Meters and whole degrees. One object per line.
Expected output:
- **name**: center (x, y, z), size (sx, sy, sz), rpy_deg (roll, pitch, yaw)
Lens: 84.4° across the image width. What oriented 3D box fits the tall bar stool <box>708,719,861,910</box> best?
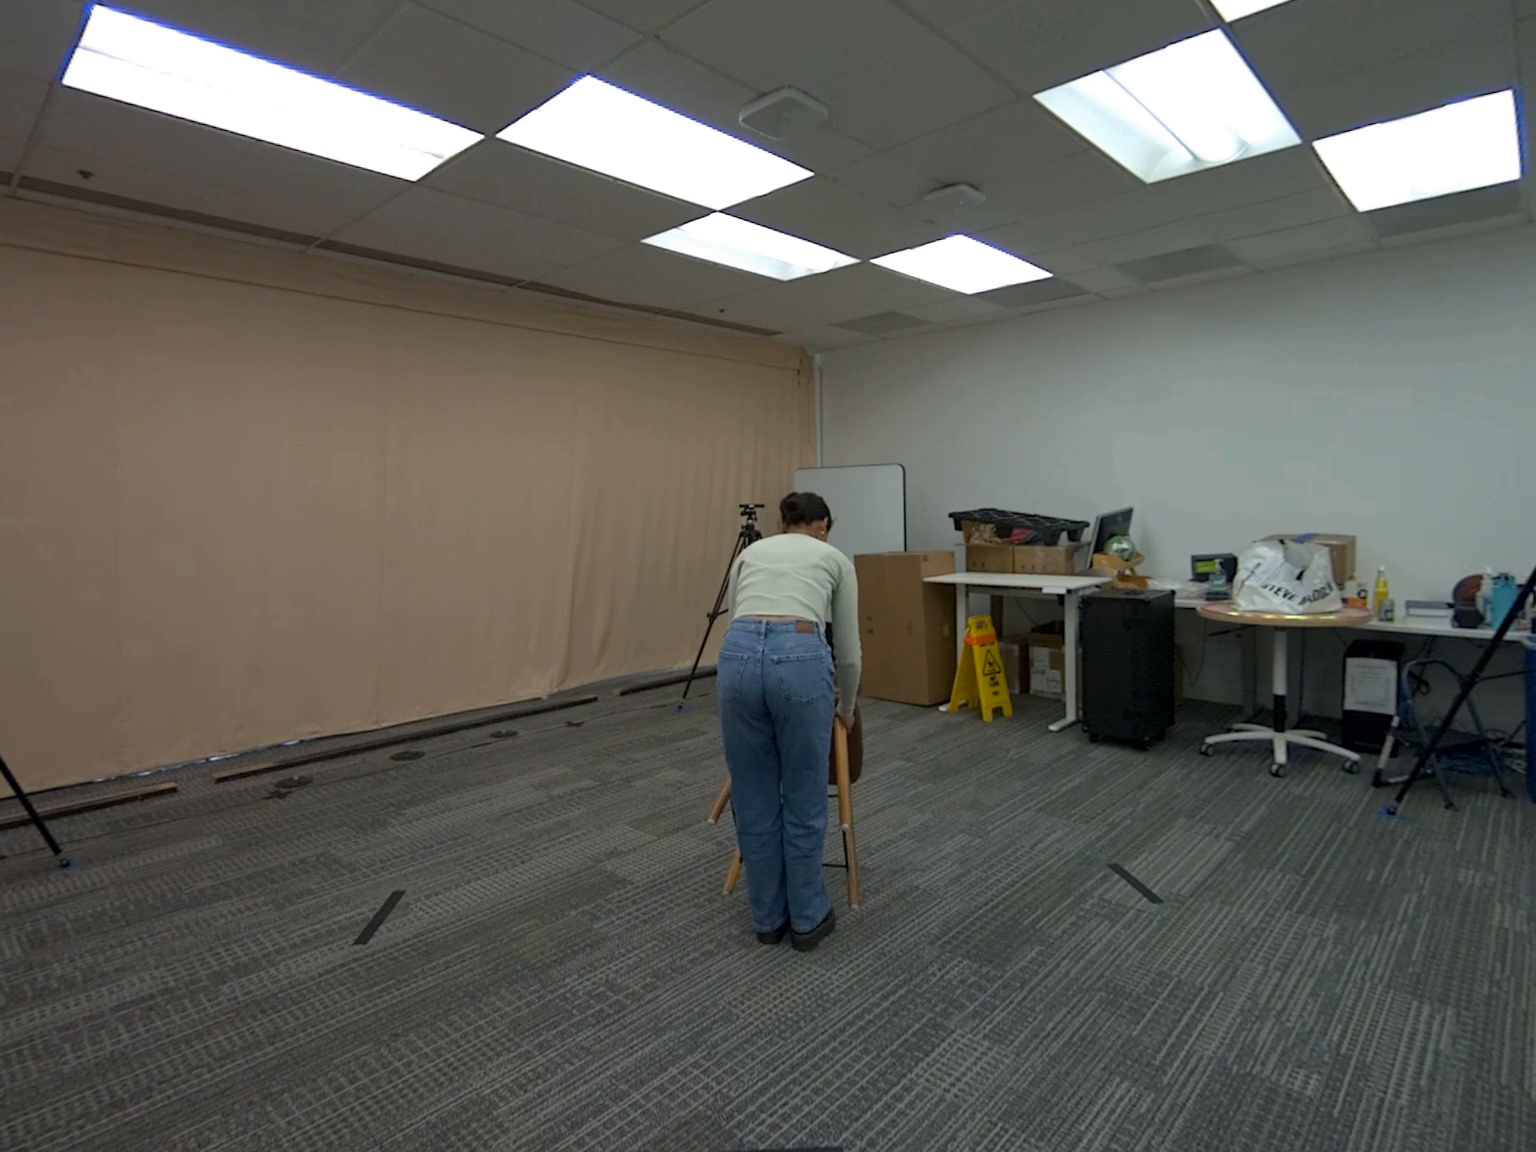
- **tall bar stool**: center (0.108, 0.677, 3.039), size (0.473, 0.447, 0.898), rpy_deg (-3, 33, 10)
